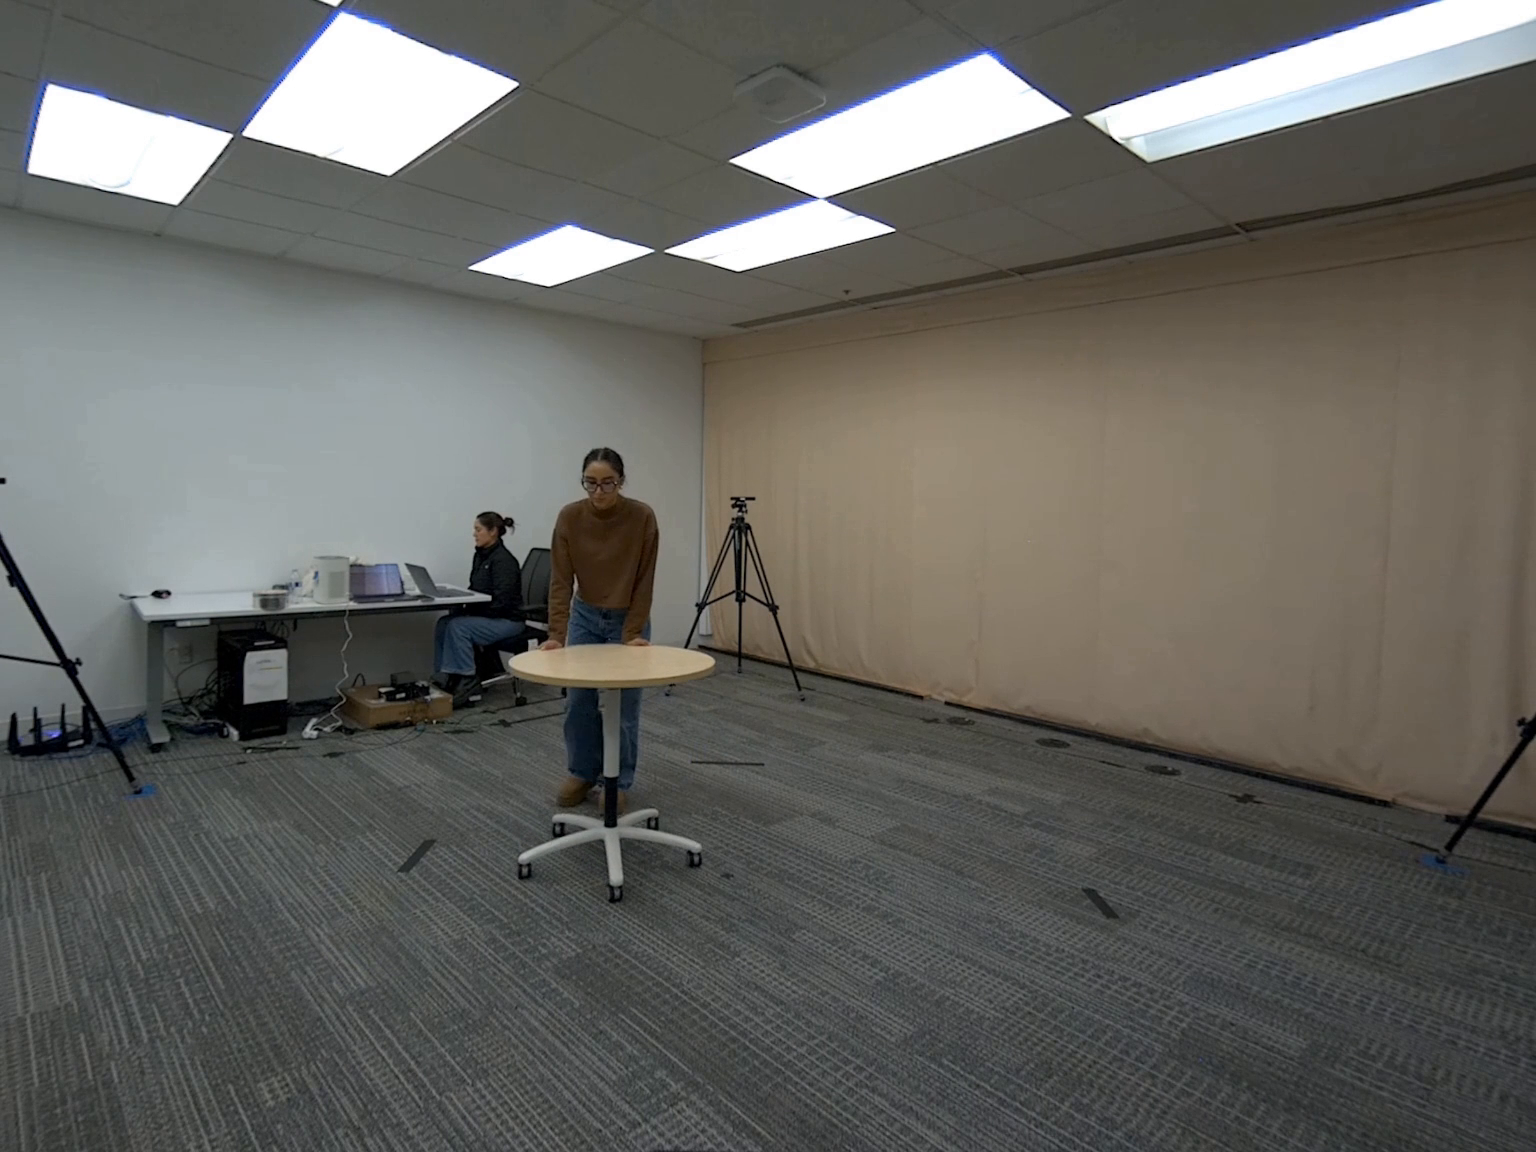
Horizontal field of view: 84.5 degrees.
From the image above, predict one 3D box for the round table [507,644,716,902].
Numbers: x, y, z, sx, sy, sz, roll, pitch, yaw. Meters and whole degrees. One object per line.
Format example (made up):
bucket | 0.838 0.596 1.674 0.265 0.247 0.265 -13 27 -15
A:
round table | -0.601 0.707 3.186 0.763 0.792 0.766 1 4 -1
